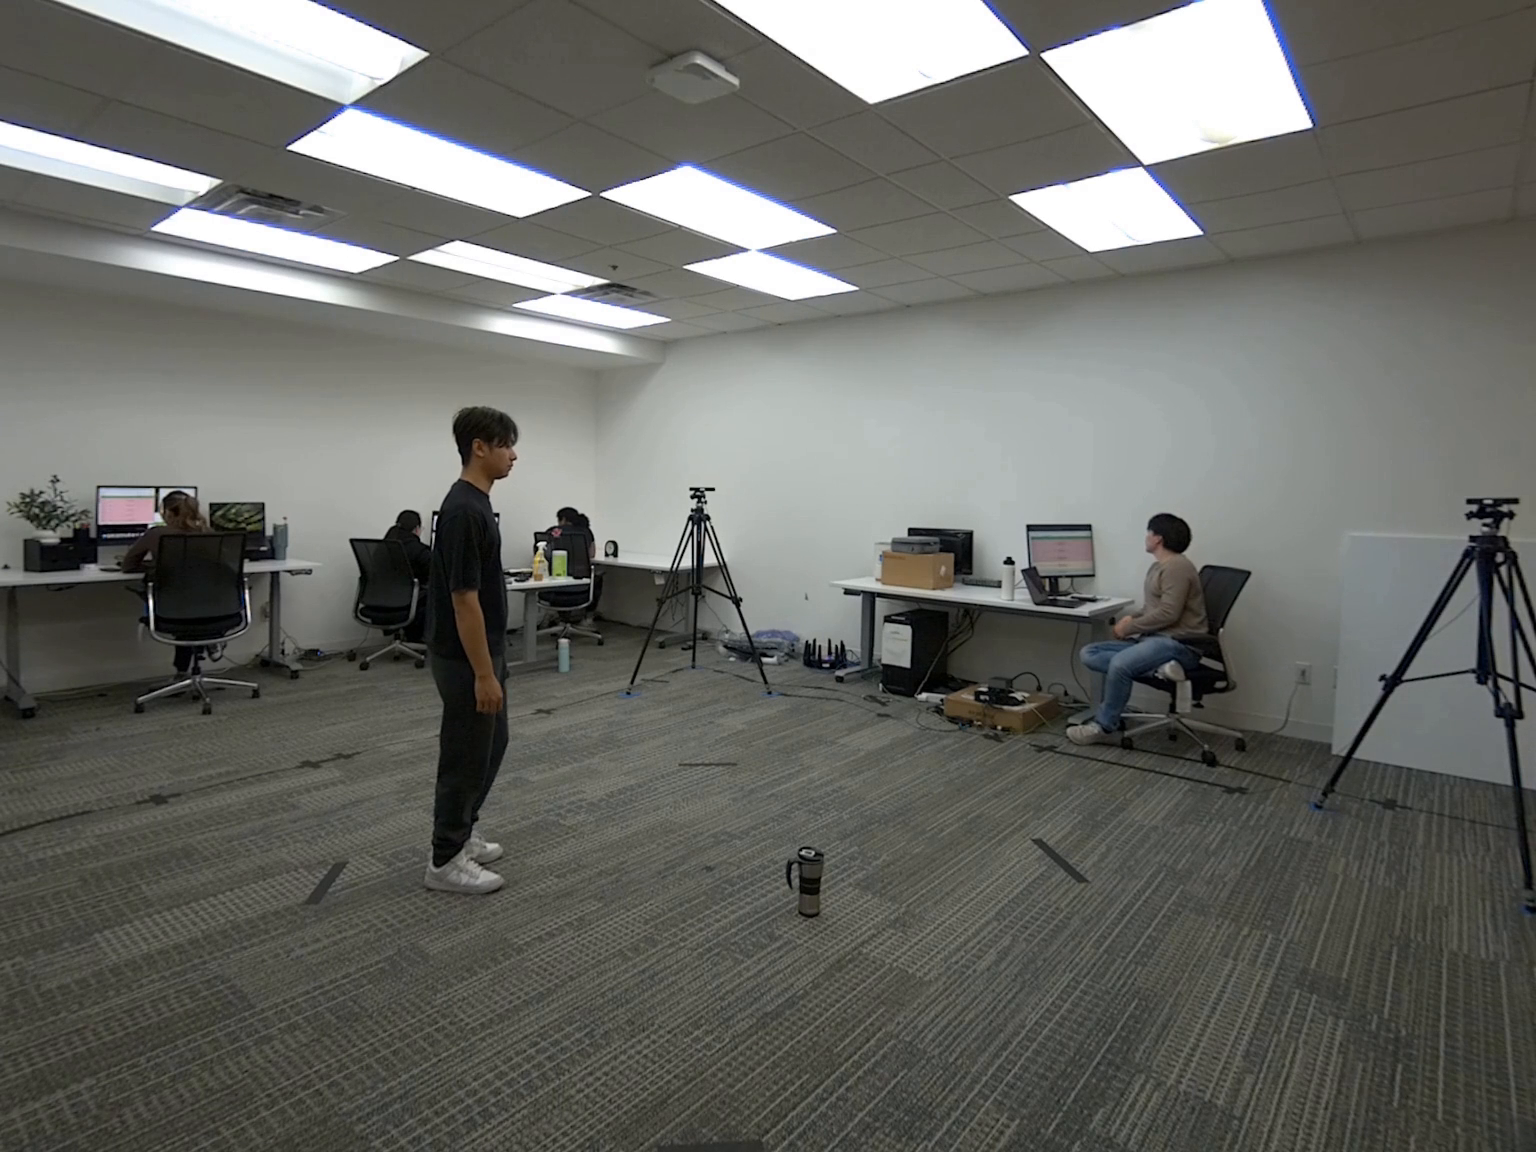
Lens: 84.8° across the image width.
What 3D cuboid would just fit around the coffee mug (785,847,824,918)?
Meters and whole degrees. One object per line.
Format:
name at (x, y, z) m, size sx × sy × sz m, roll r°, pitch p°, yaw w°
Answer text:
coffee mug at (0.118, 1.001, 2.810) m, size 0.126 × 0.201 × 0.085 m, roll 12°, pitch 13°, yaw 44°
